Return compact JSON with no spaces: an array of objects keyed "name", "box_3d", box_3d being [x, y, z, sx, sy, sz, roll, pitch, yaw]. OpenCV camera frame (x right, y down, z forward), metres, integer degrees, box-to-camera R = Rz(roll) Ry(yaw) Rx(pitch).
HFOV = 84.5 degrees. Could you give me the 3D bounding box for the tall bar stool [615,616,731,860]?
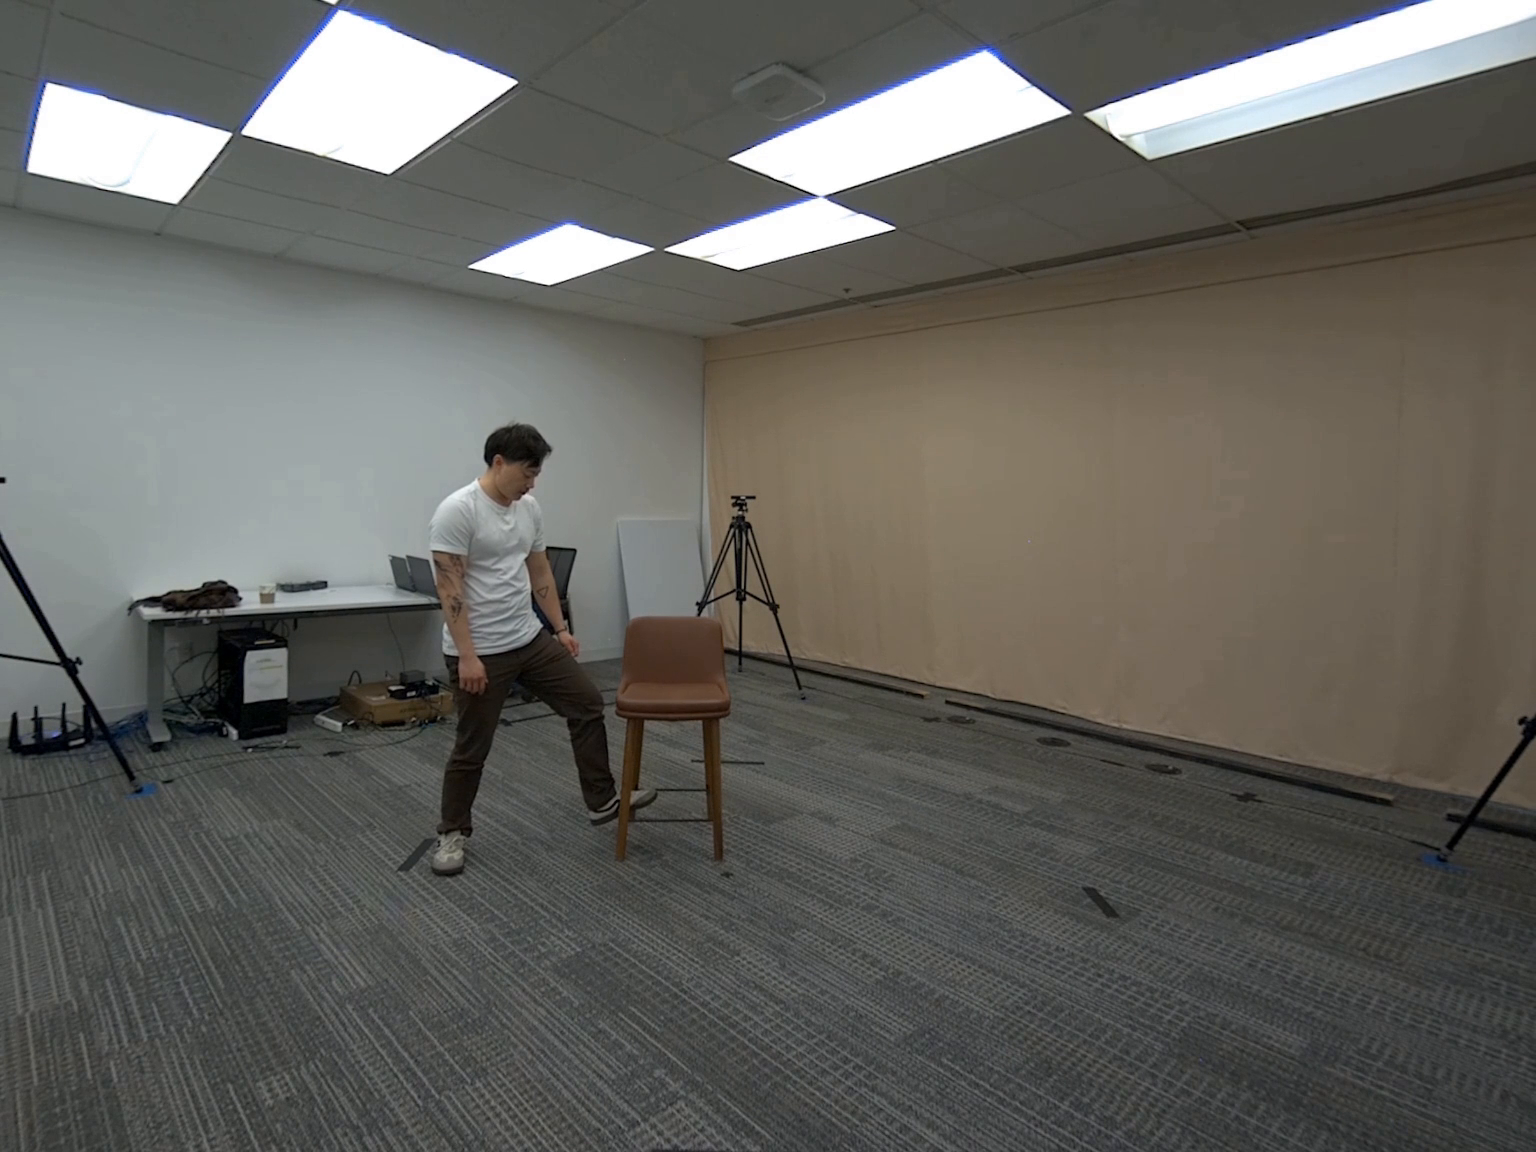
[{"name":"tall bar stool","box_3d":[-0.390,0.634,3.414,0.455,0.889,0.470,1,2,-4]}]
